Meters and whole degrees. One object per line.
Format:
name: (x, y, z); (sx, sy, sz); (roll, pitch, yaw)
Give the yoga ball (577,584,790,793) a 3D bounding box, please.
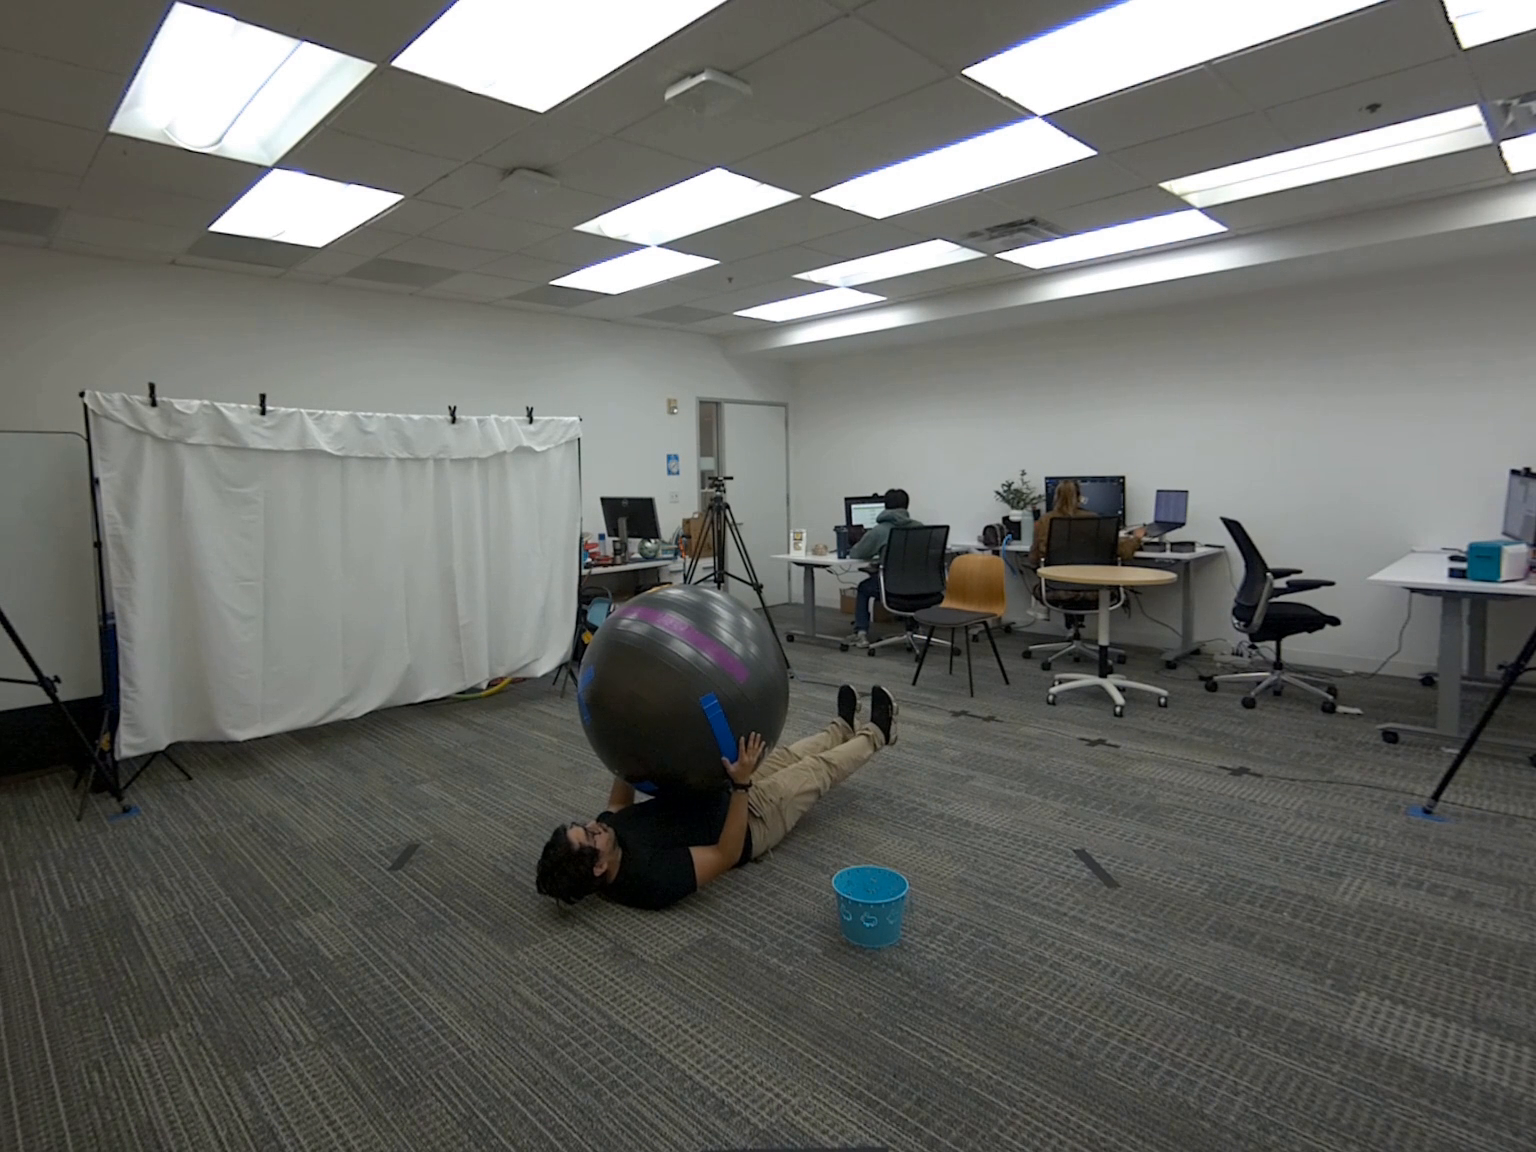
yoga ball: (-0.299, 0.410, 3.070); (0.757, 0.755, 0.761); (-1, 4, -2)
